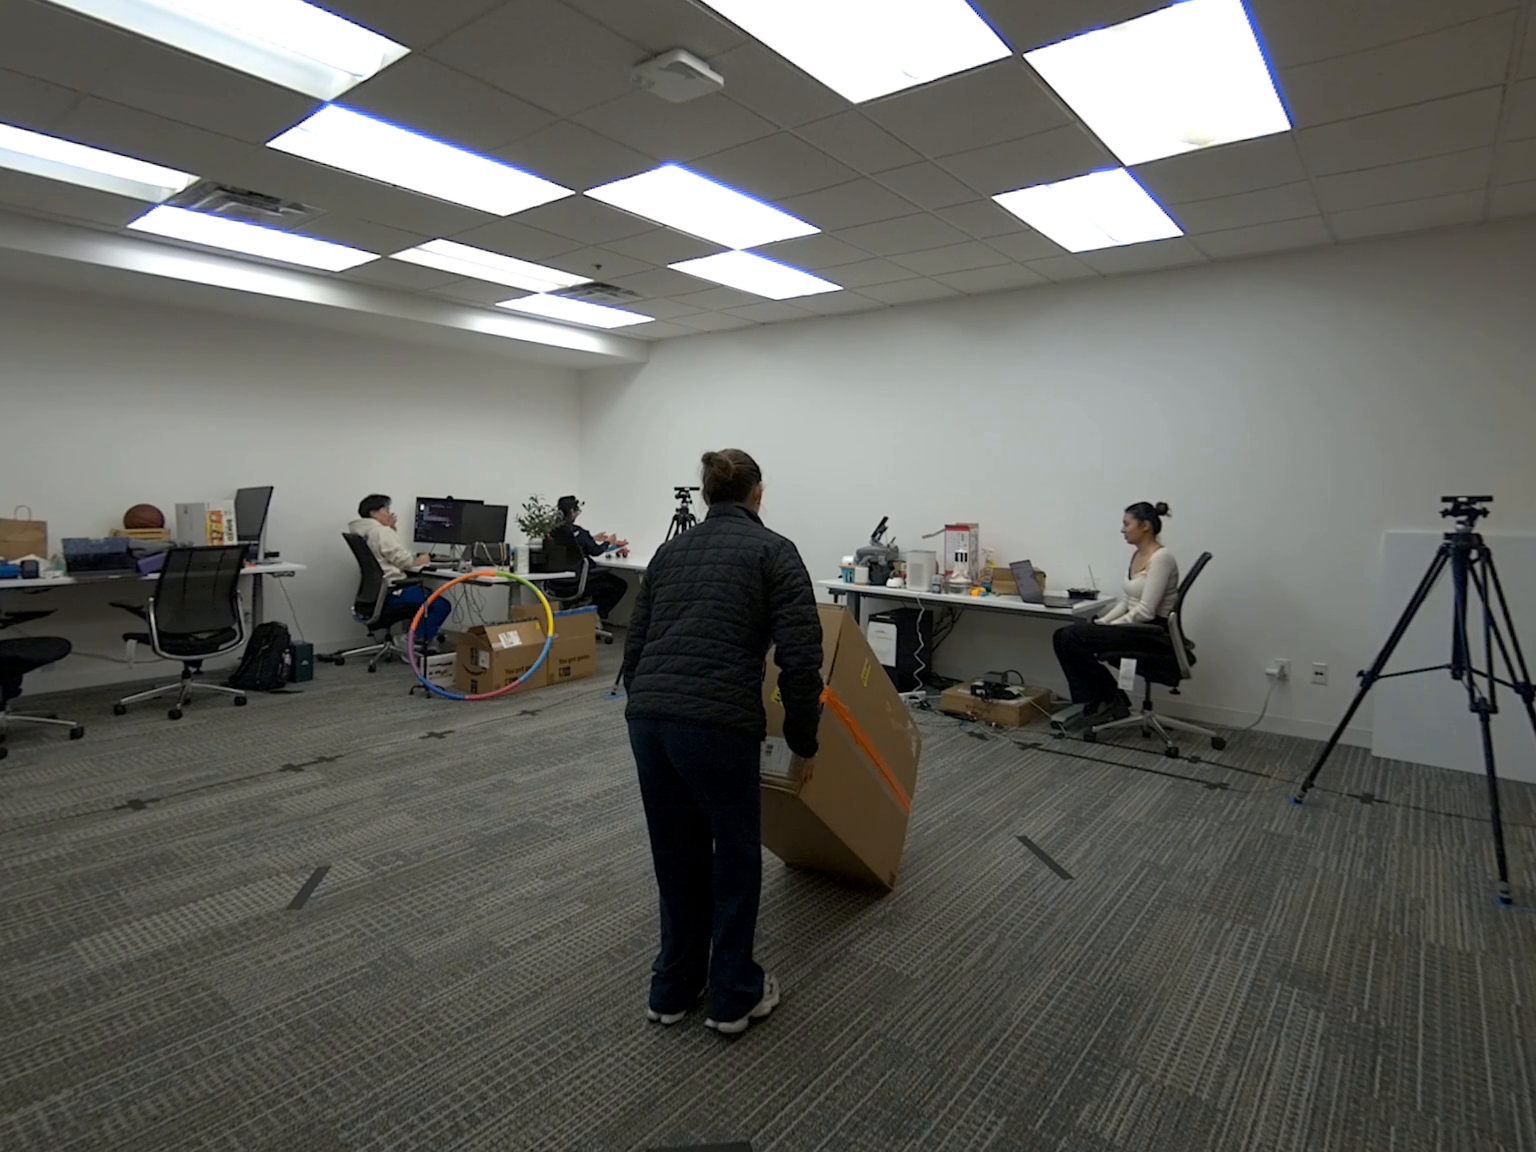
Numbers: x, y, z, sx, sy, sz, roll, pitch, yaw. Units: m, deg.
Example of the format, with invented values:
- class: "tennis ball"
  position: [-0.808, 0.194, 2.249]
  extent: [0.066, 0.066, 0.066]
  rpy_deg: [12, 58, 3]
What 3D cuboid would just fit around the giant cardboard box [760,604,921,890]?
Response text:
- class: "giant cardboard box"
  position: [0.162, 0.570, 2.836]
  extent: [0.460, 0.592, 0.985]
  rpy_deg: [4, -30, 28]
